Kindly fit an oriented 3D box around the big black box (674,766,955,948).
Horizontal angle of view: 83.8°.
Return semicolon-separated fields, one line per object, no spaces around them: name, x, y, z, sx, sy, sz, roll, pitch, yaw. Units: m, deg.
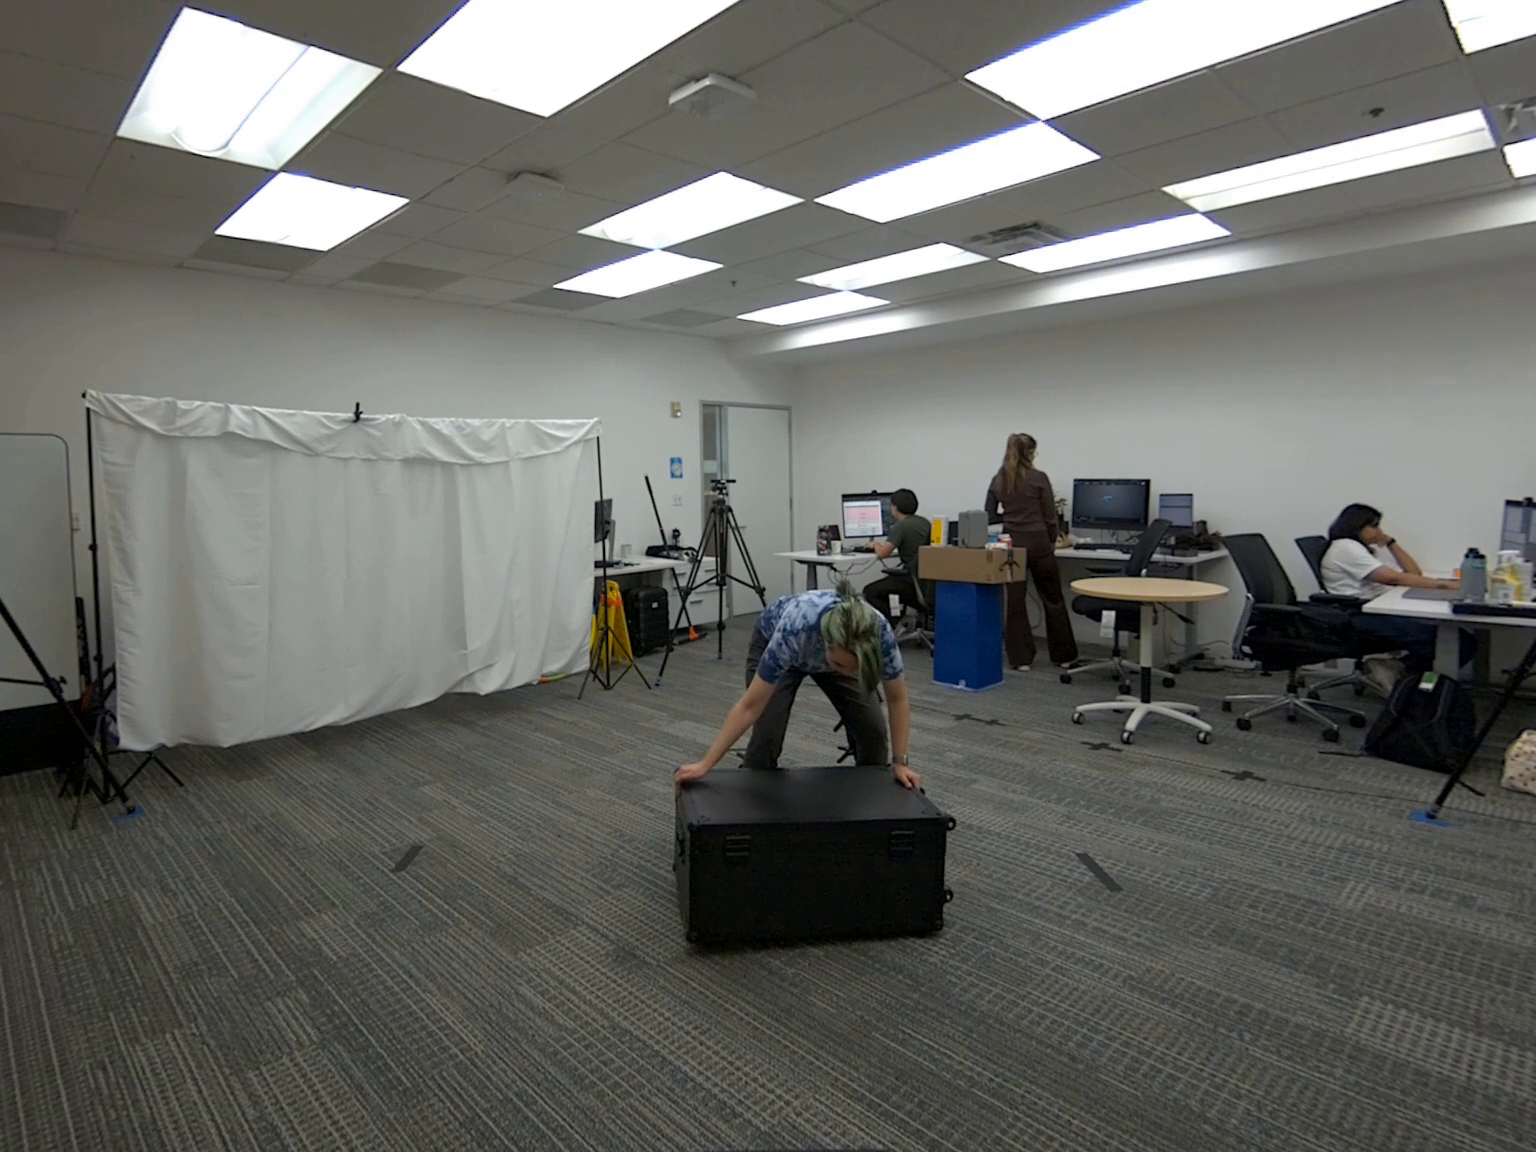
big black box;0.093;0.877;2.756;0.853;0.395;0.528;1;4;-10
